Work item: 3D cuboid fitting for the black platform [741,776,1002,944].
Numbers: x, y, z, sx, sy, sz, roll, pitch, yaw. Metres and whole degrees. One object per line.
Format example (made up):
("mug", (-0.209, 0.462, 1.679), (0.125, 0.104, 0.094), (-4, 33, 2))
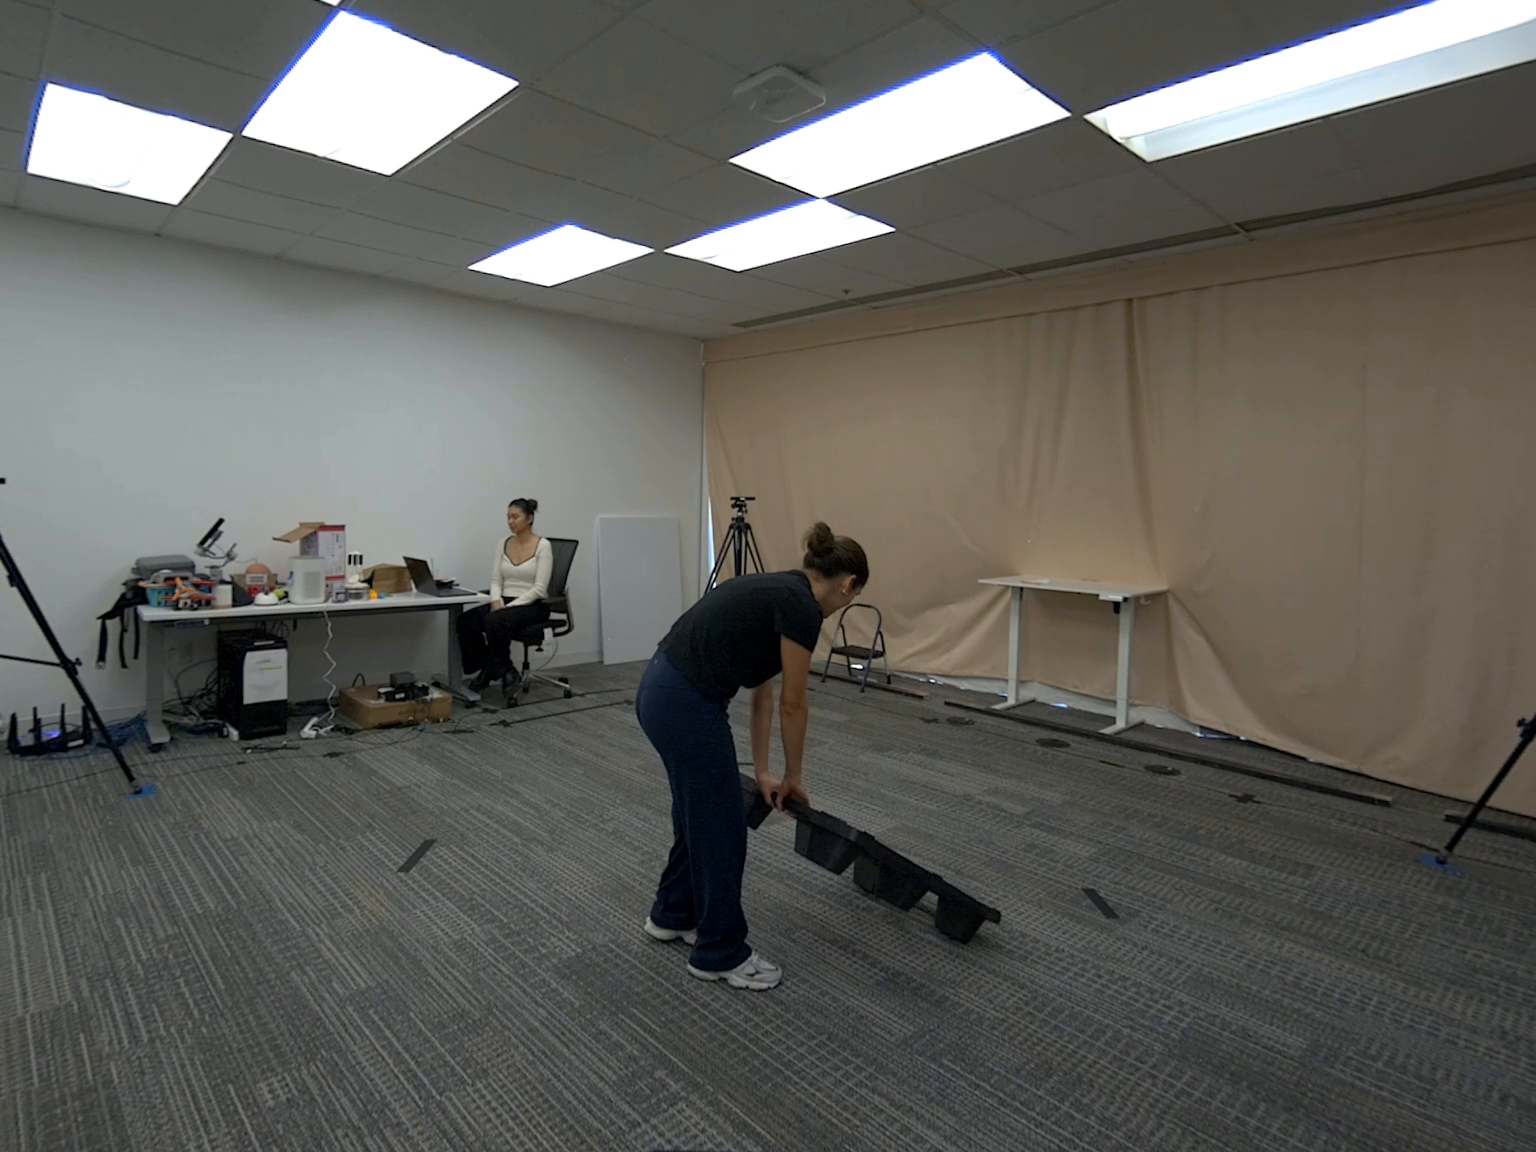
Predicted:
("black platform", (0.275, 0.900, 2.667), (0.782, 0.144, 0.620), (40, -20, -34))
